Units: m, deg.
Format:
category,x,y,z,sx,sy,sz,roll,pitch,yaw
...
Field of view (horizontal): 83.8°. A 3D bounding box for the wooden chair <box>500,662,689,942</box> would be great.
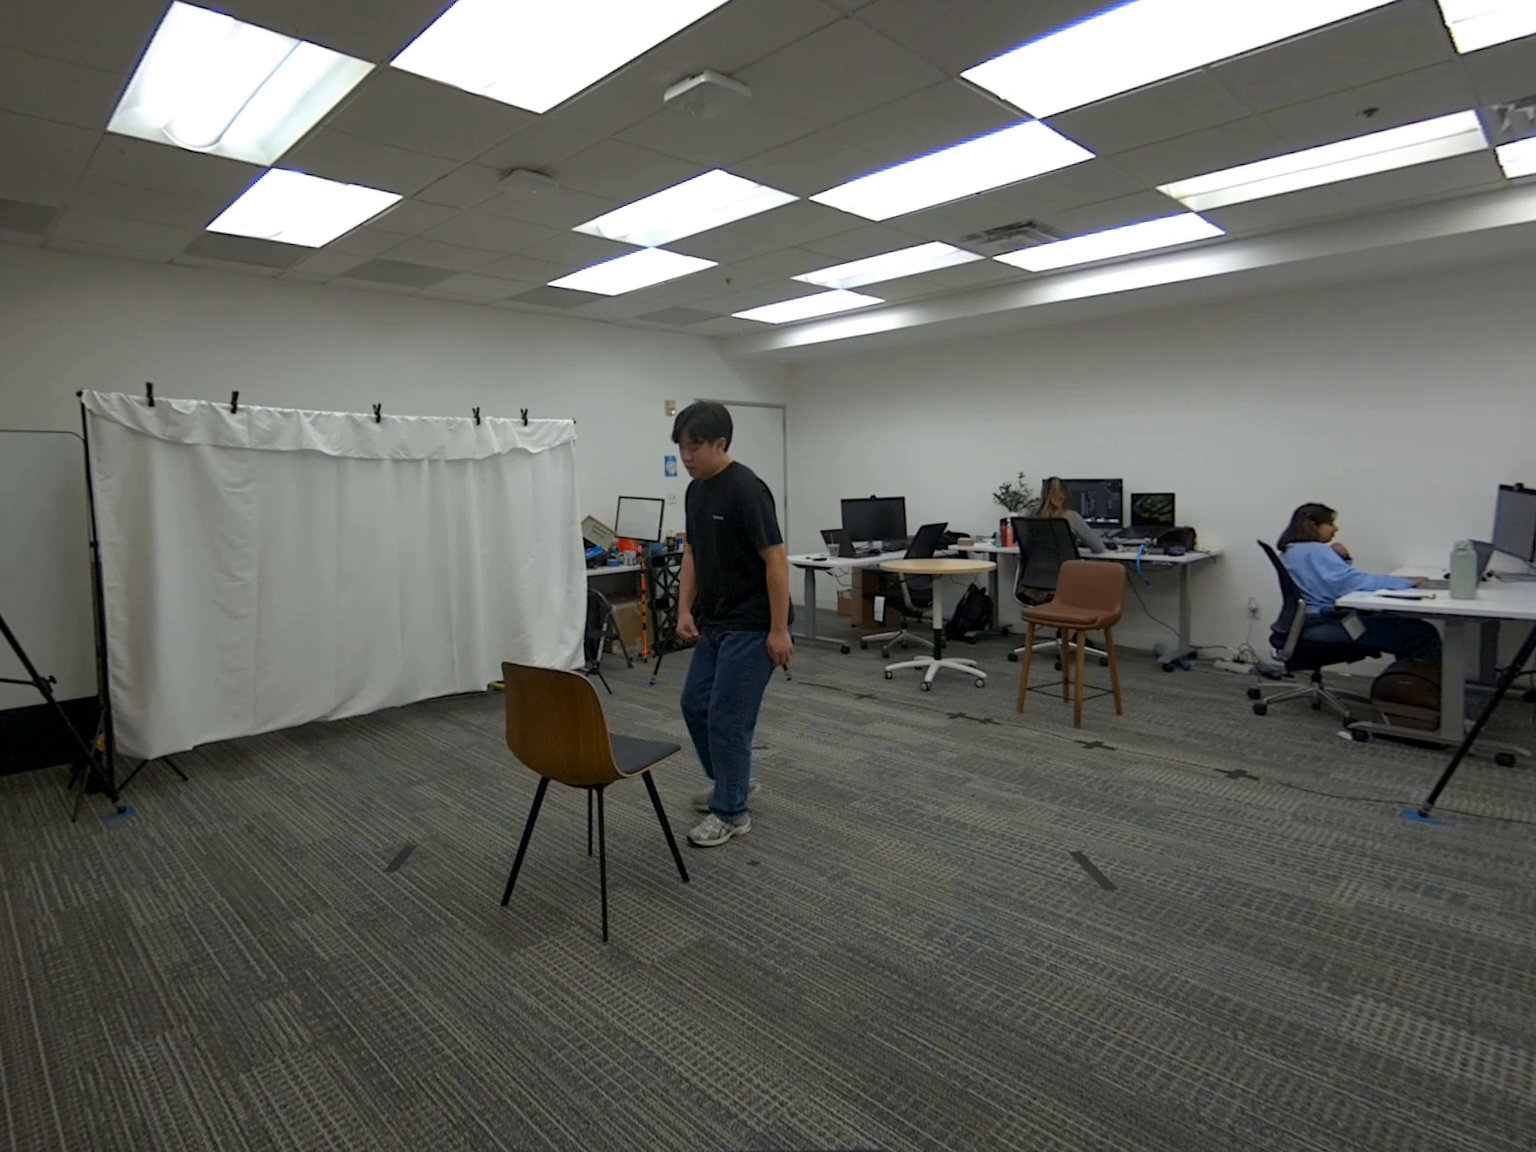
category,x,y,z,sx,sy,sz,roll,pitch,yaw
wooden chair,-0.577,0.652,2.870,0.491,0.871,0.513,1,9,31
